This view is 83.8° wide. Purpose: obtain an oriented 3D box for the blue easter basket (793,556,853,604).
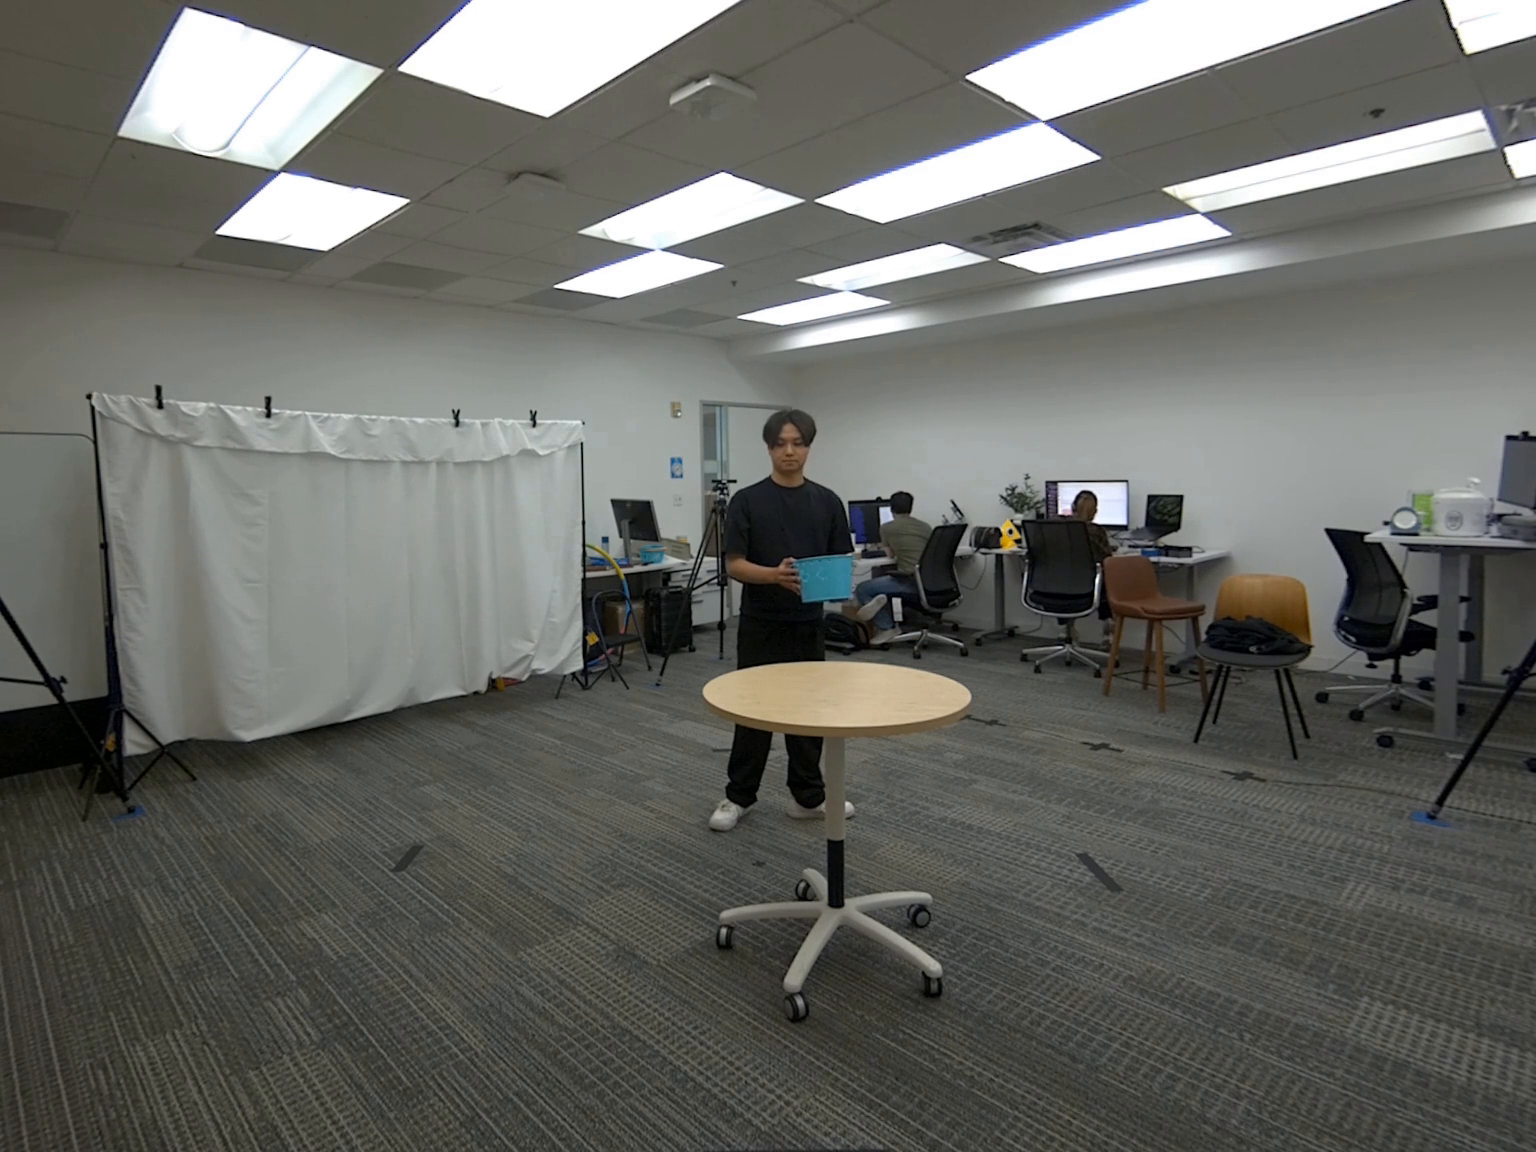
[{"bbox_3d":[0.202,0.016,3.159,0.243,0.156,0.243,-4,-1,-2],"label":"blue easter basket"}]
